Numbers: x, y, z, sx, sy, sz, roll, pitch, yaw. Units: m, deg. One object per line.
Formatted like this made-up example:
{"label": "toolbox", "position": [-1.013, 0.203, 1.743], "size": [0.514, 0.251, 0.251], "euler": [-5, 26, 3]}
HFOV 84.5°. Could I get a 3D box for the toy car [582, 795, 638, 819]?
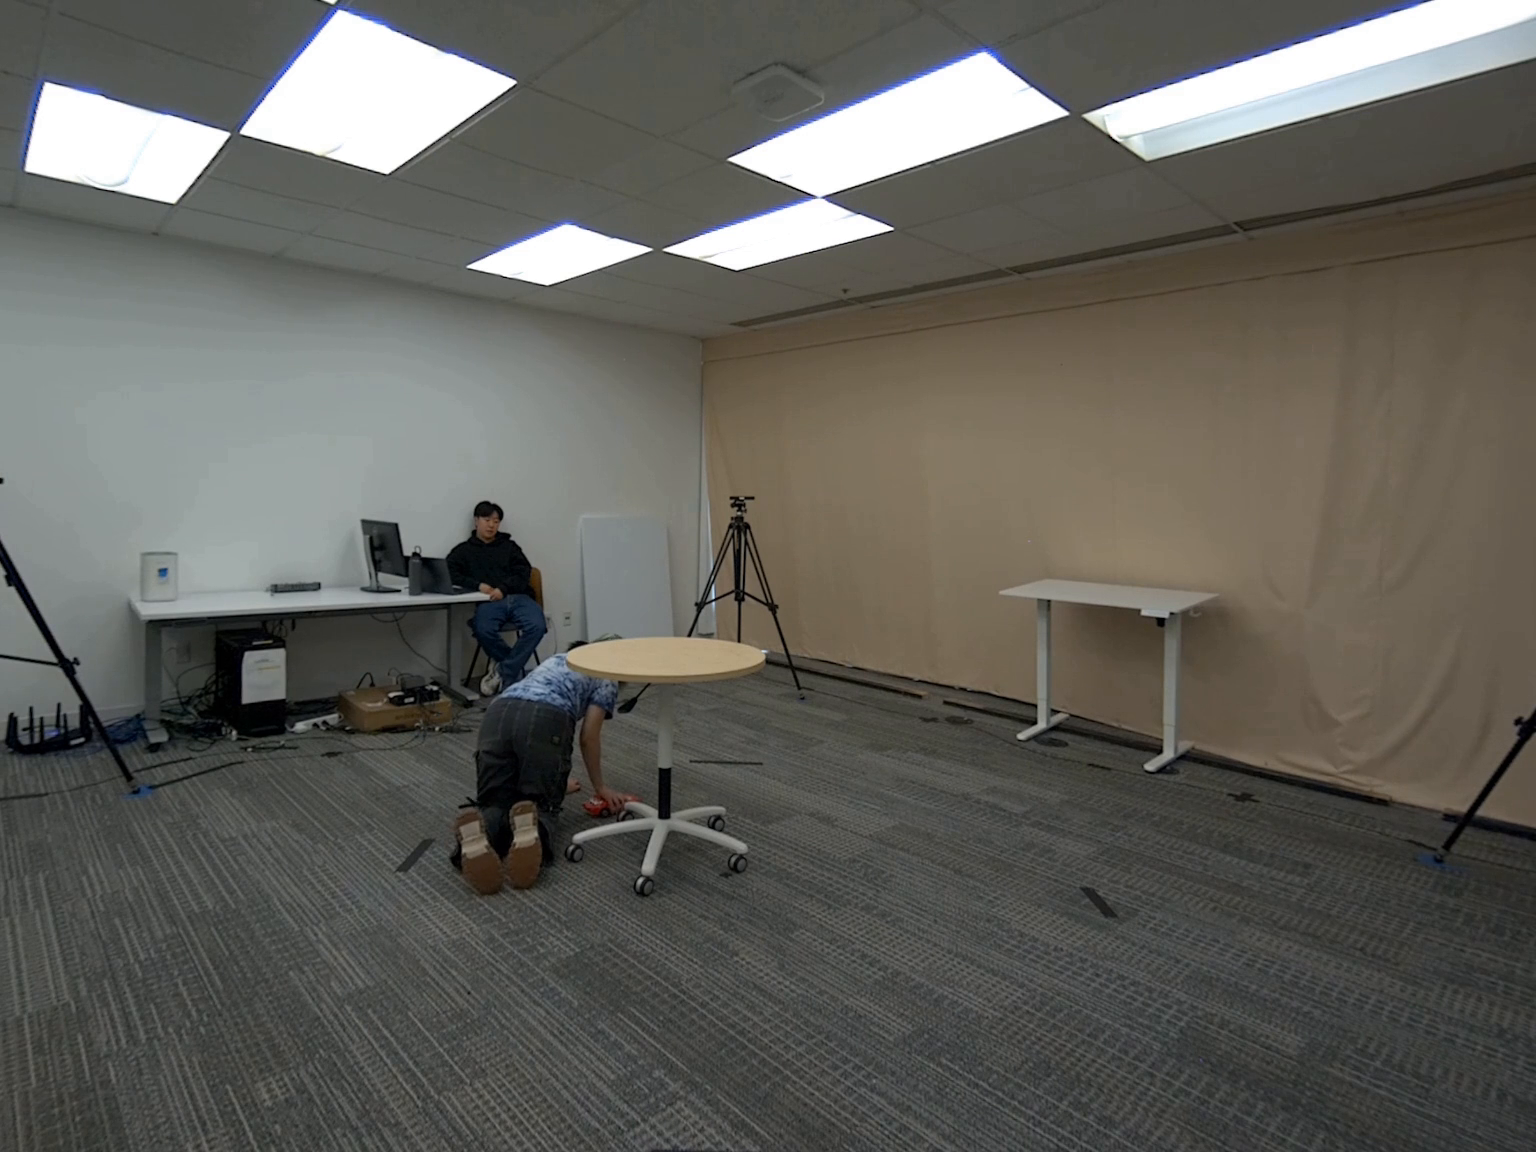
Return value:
{"label": "toy car", "position": [-0.708, 1.013, 3.709], "size": [0.248, 0.083, 0.133], "euler": [10, -2, -35]}
